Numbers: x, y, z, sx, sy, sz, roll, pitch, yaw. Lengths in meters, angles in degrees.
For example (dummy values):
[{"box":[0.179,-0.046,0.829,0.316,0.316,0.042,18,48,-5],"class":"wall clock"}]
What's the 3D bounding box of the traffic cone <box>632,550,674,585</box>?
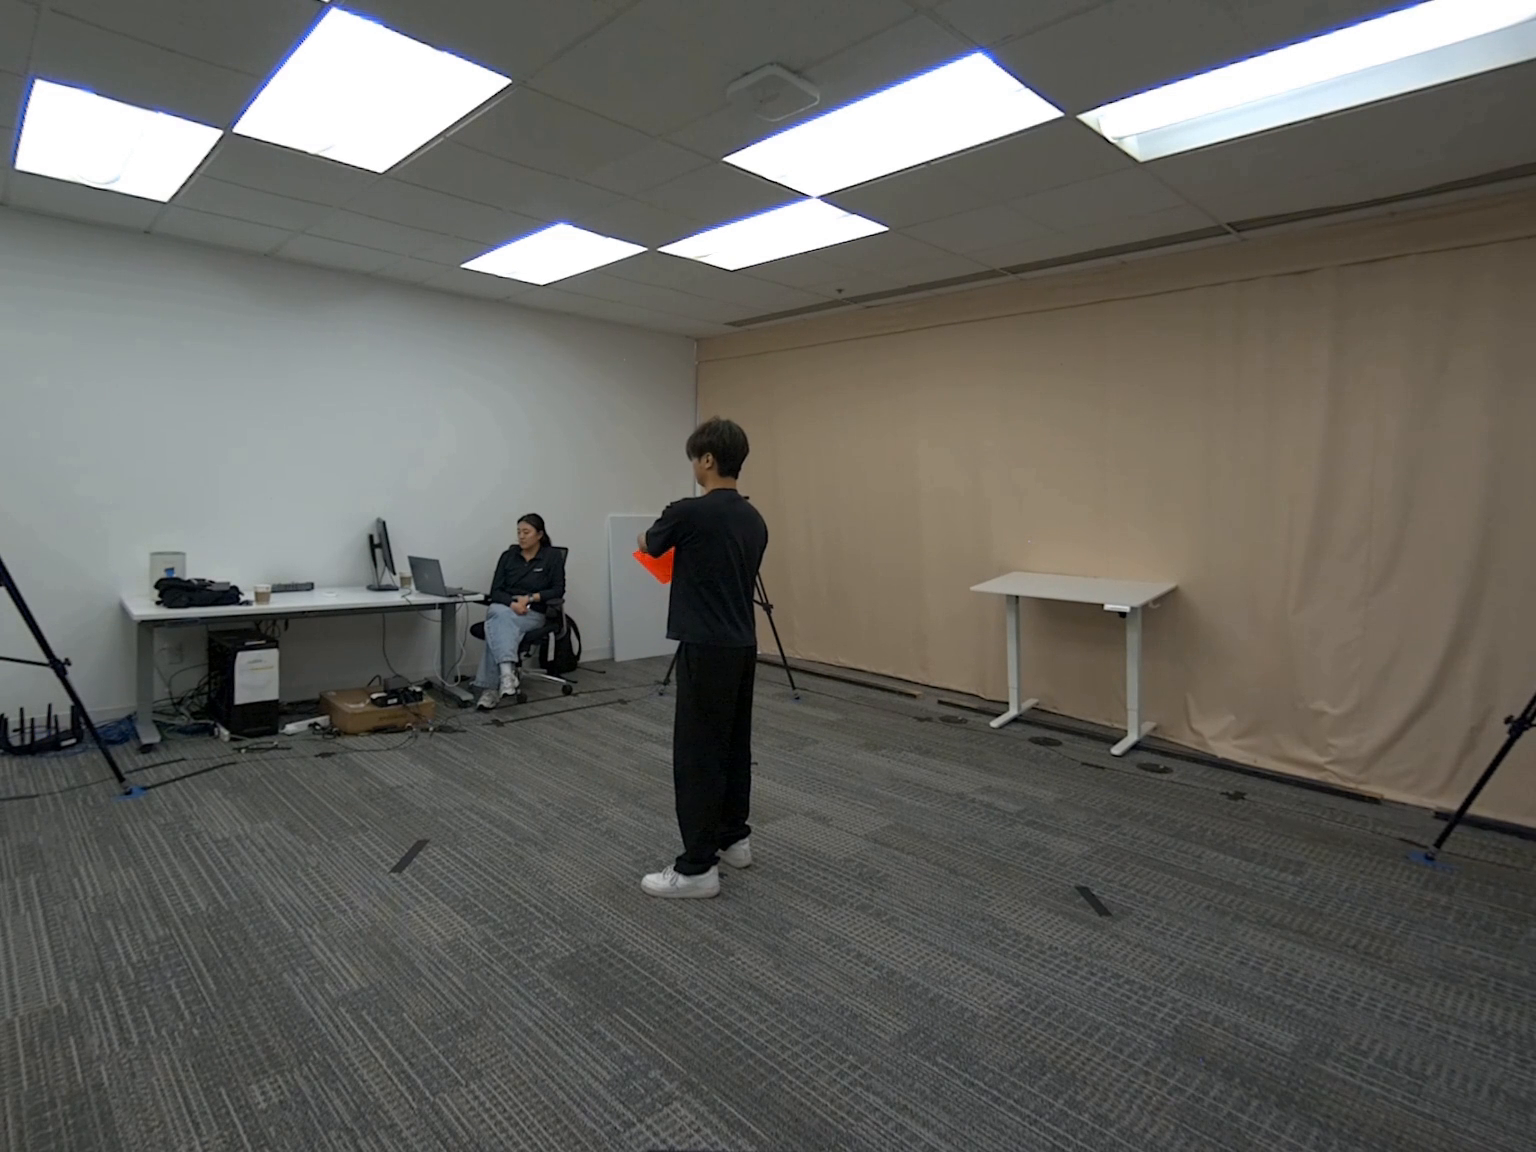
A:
[{"box":[-0.398,-0.188,3.590,0.199,0.389,0.207,40,-48,-22],"class":"traffic cone"}]
